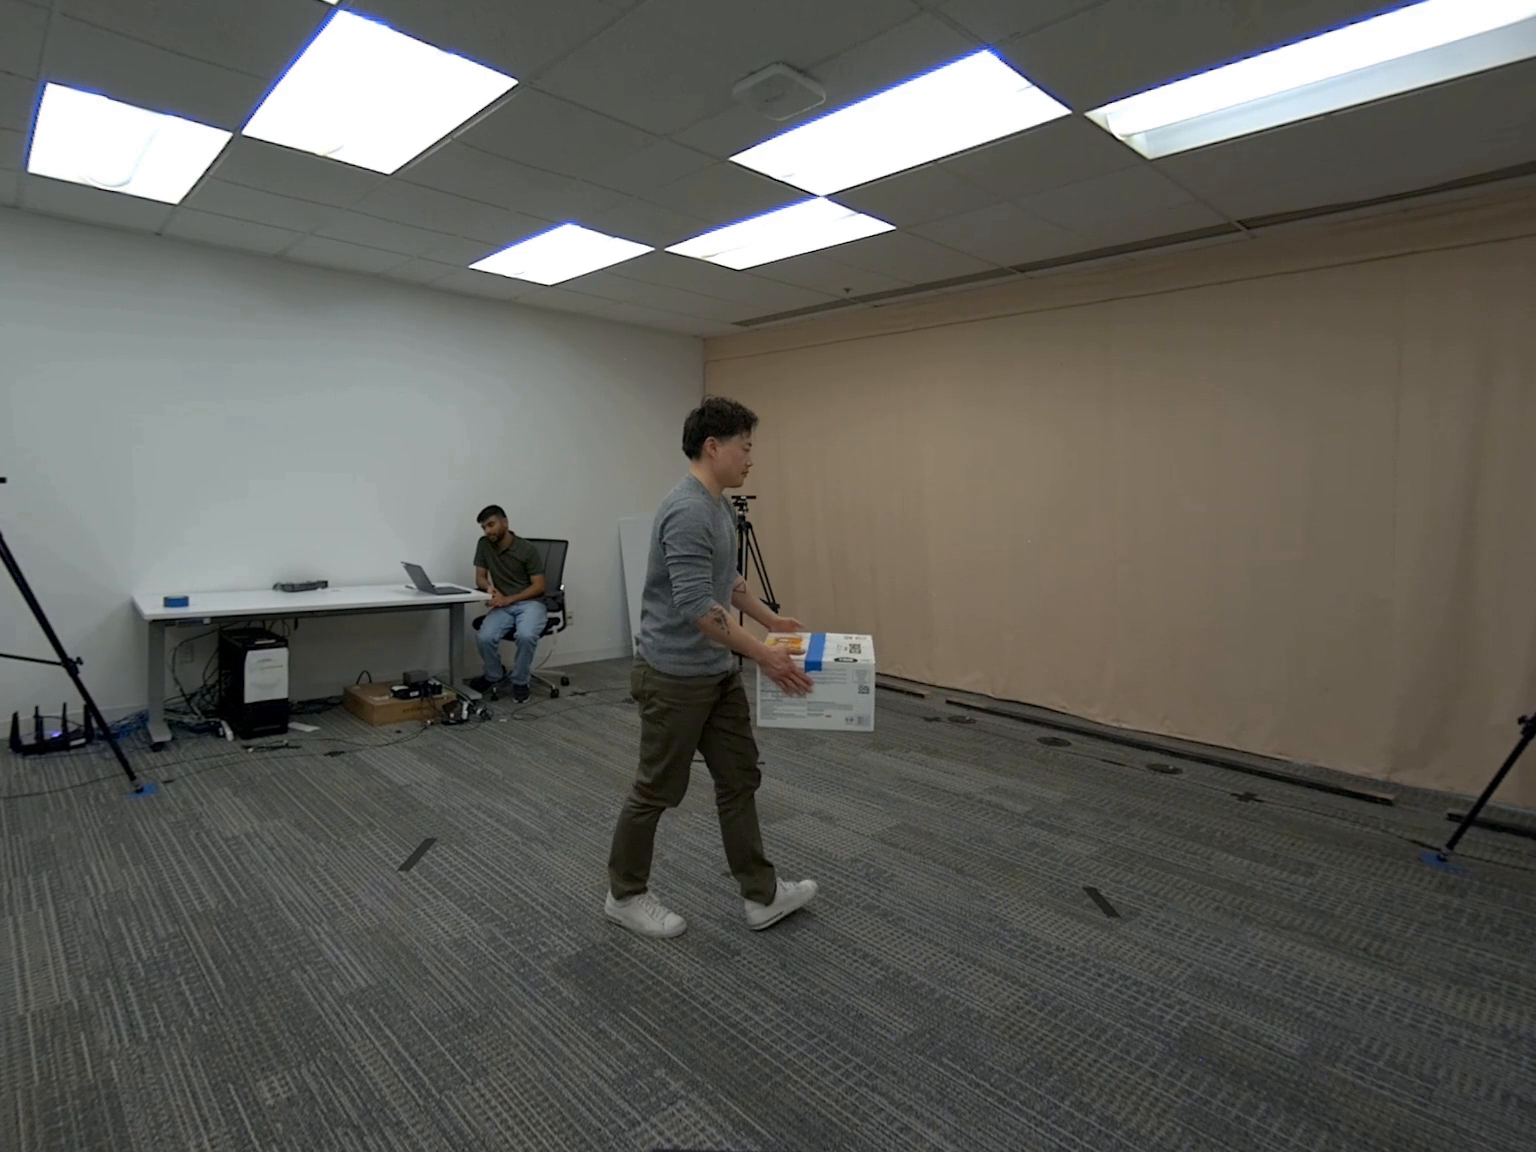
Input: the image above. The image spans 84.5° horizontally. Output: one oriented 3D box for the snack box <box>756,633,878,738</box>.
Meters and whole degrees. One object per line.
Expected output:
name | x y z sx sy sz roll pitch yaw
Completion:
snack box | 0.157 0.321 2.603 0.342 0.205 0.404 1 7 7
